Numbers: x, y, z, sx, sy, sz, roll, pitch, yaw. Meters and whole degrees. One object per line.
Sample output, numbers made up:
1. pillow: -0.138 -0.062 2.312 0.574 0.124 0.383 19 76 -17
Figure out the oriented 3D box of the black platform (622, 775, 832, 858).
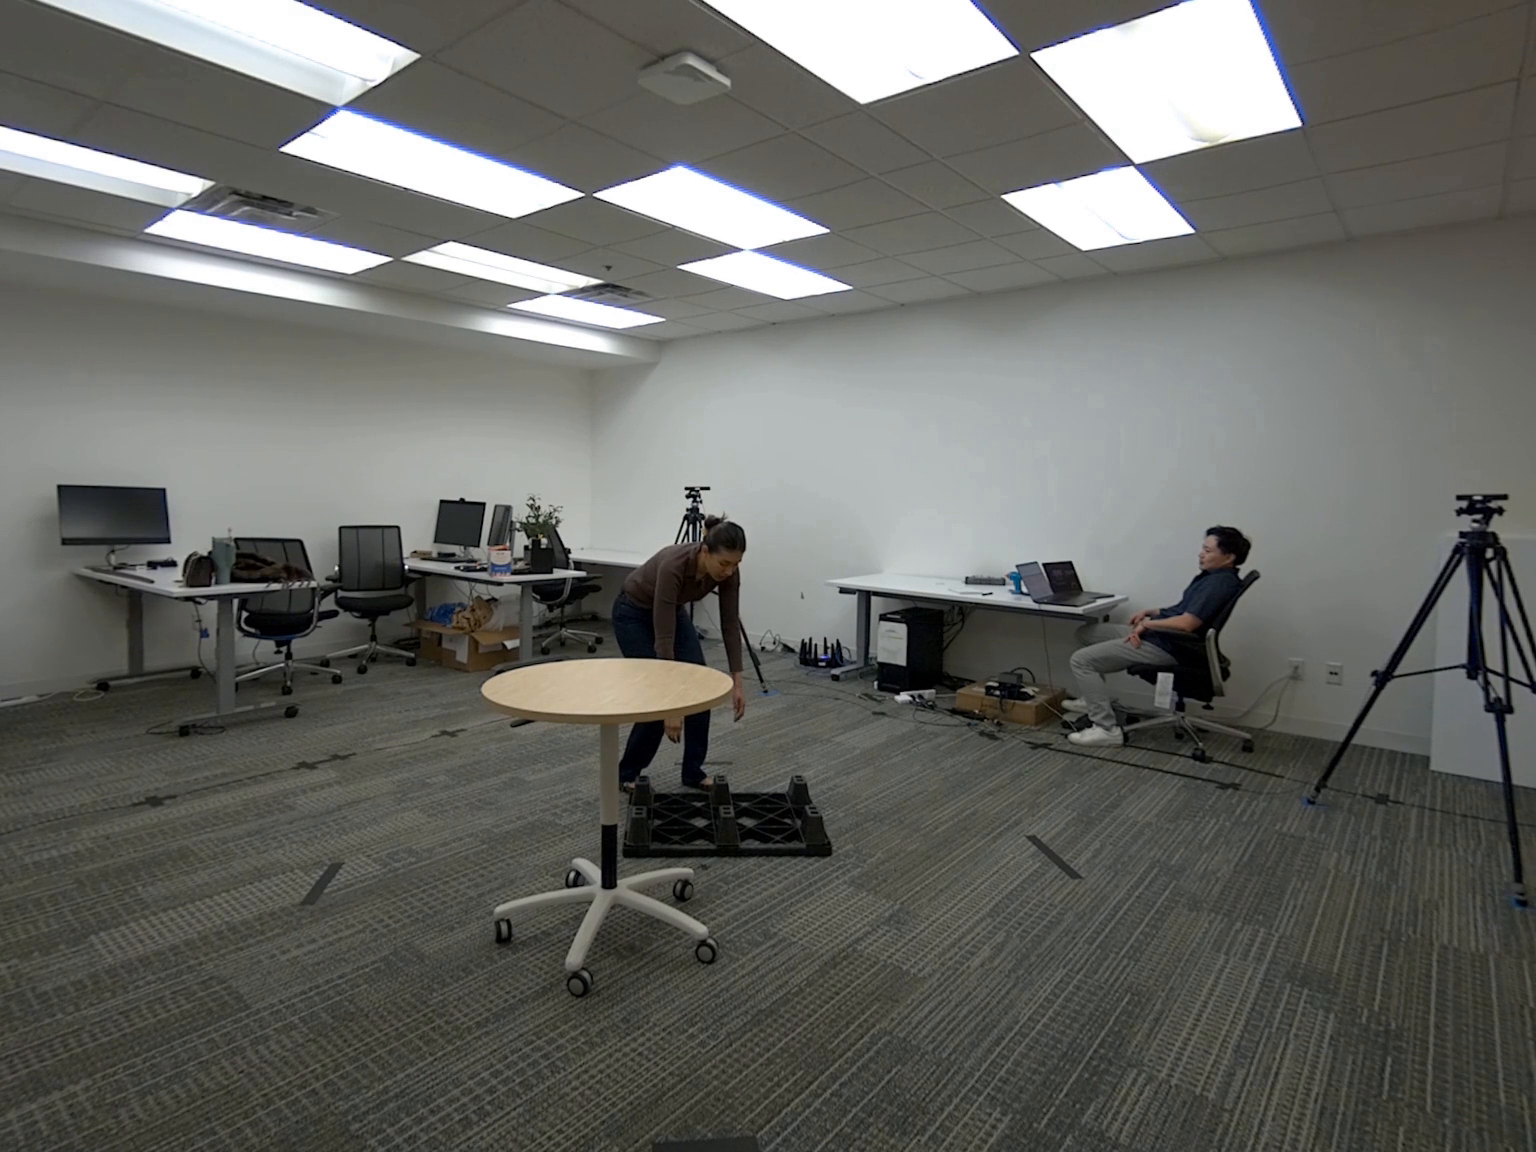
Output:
1. black platform: -0.186 0.959 3.500 0.802 0.143 0.611 0 6 -5
